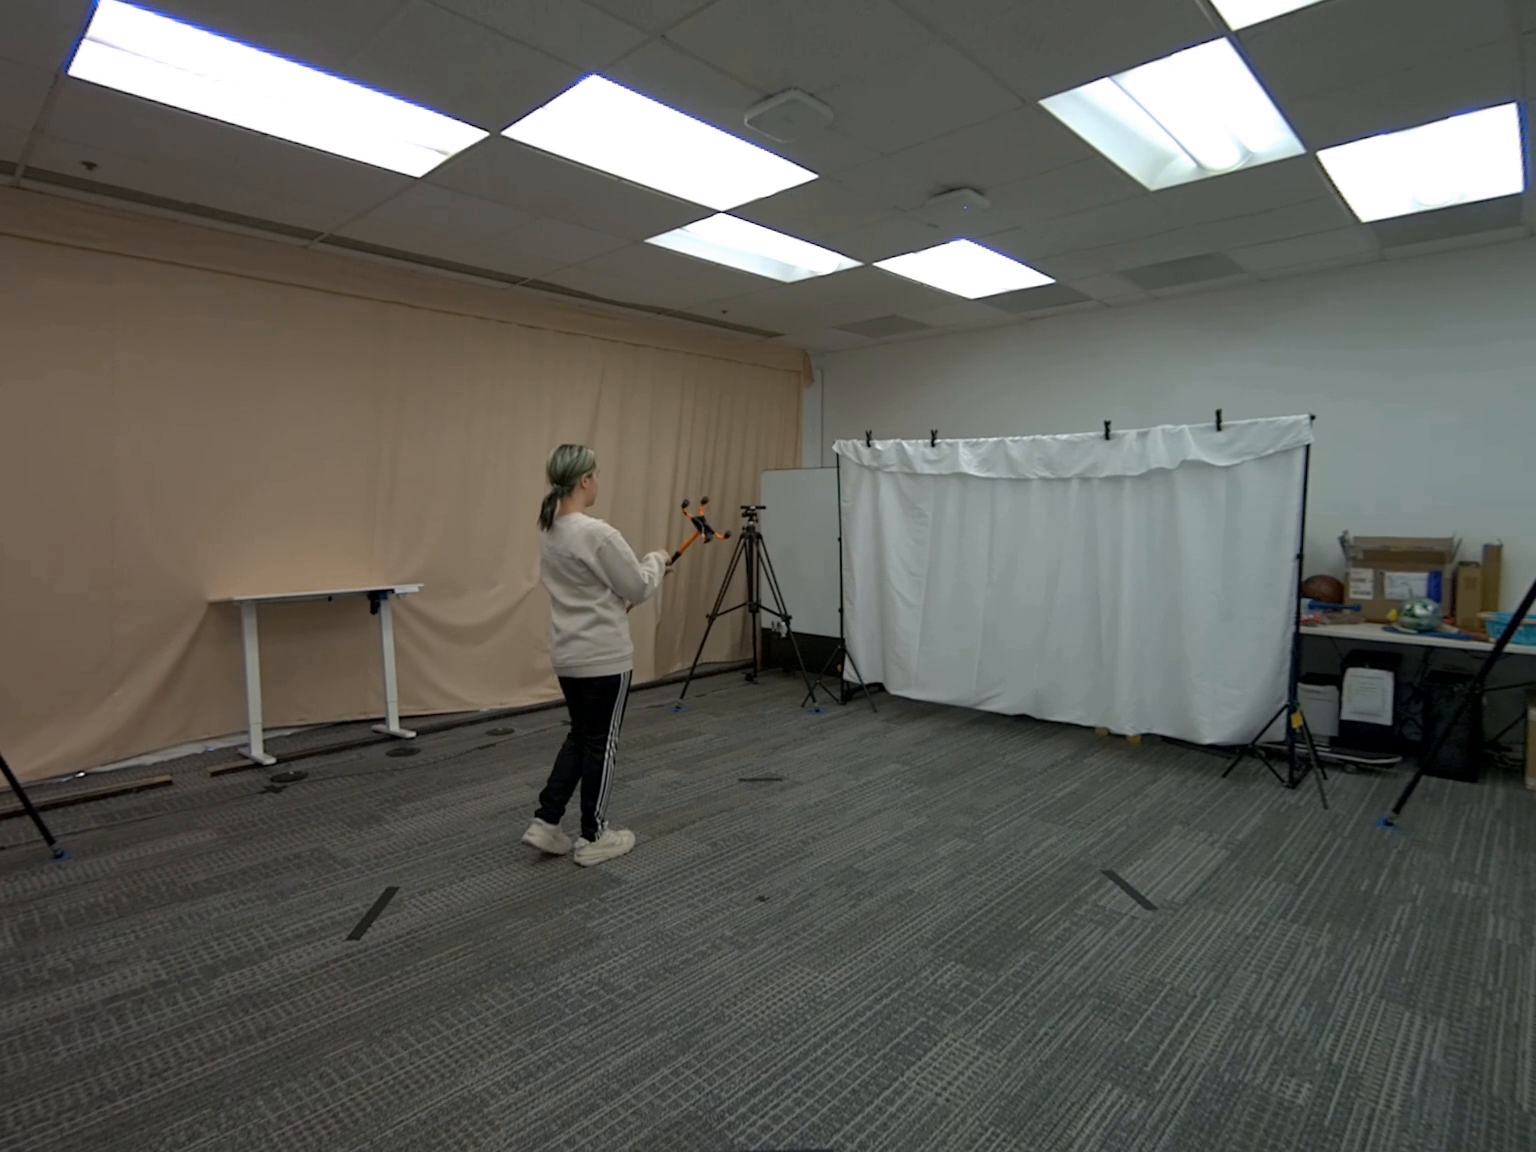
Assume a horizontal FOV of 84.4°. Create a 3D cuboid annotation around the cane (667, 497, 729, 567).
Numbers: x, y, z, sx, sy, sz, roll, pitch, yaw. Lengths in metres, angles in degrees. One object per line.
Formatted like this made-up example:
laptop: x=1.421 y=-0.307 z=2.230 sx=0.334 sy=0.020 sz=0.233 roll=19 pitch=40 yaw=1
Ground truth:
cane: x=-0.516 y=0.030 z=3.652 sx=0.147 sy=0.211 sz=0.915 roll=-10 pitch=-29 yaw=-51
